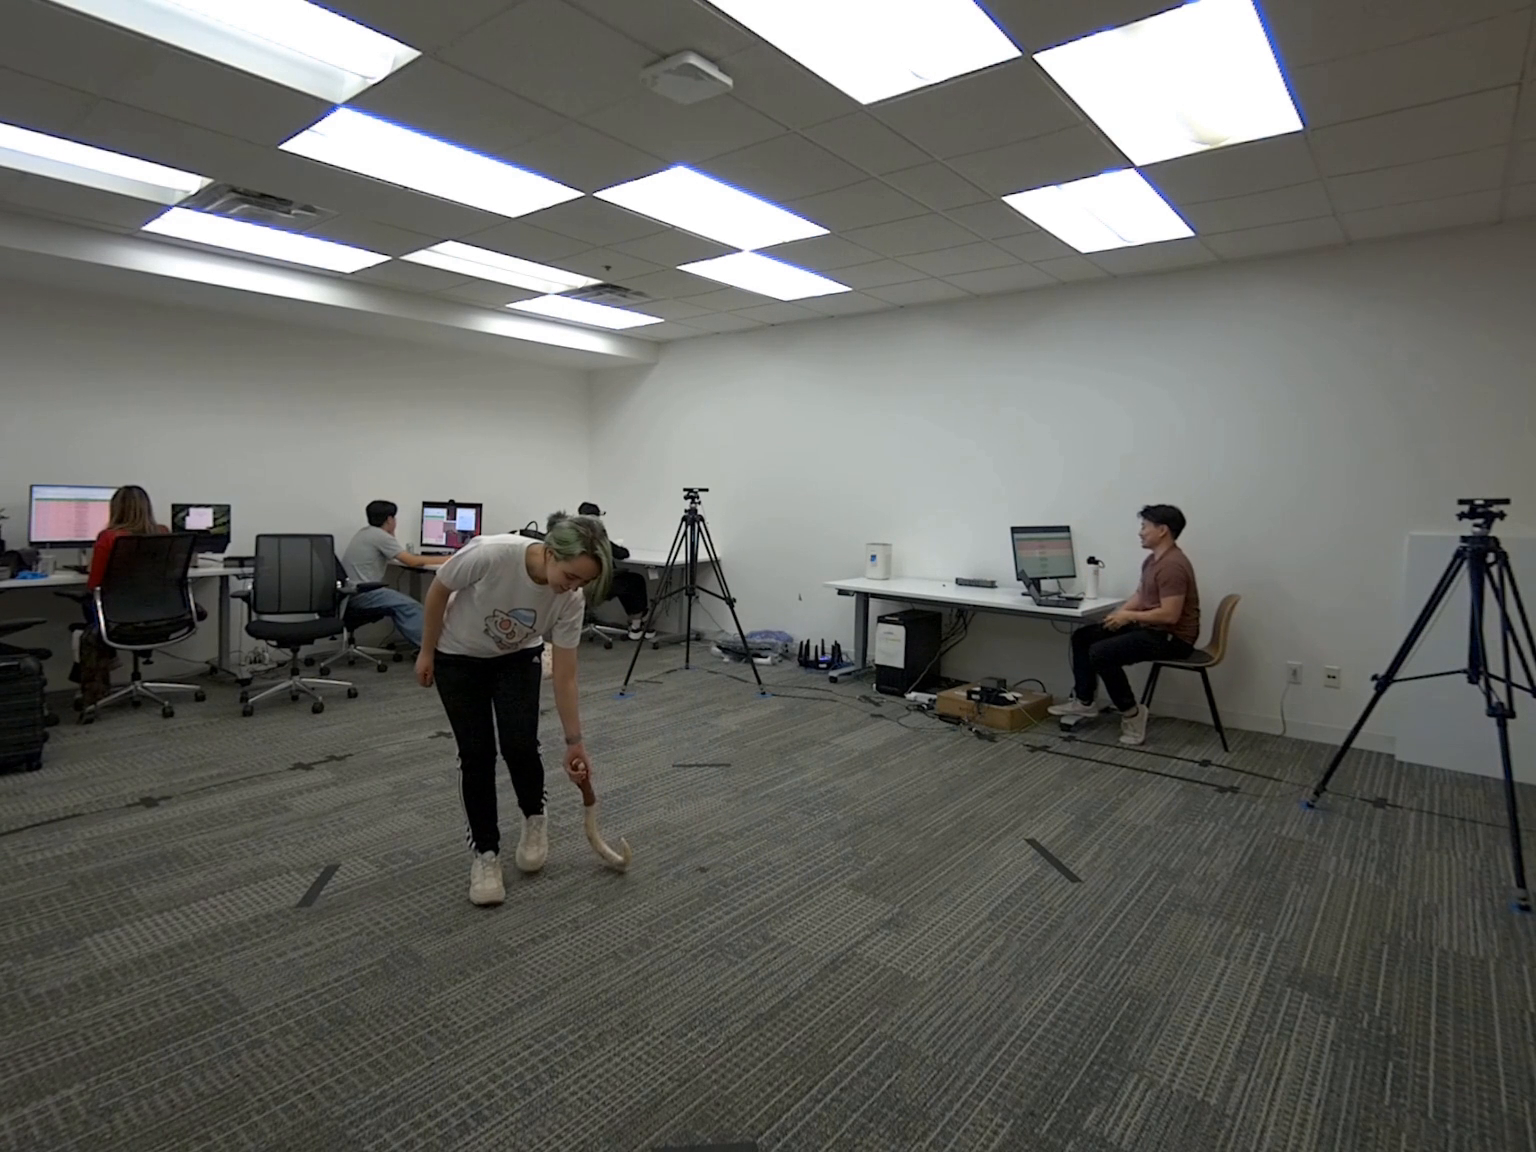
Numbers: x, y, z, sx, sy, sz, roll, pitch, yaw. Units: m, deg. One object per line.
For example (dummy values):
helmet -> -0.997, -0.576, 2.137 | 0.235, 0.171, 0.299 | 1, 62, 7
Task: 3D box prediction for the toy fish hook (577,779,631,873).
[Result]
toy fish hook -> -0.595, 0.850, 2.984 | 0.232, 0.492, 0.048 | 14, 38, 30
